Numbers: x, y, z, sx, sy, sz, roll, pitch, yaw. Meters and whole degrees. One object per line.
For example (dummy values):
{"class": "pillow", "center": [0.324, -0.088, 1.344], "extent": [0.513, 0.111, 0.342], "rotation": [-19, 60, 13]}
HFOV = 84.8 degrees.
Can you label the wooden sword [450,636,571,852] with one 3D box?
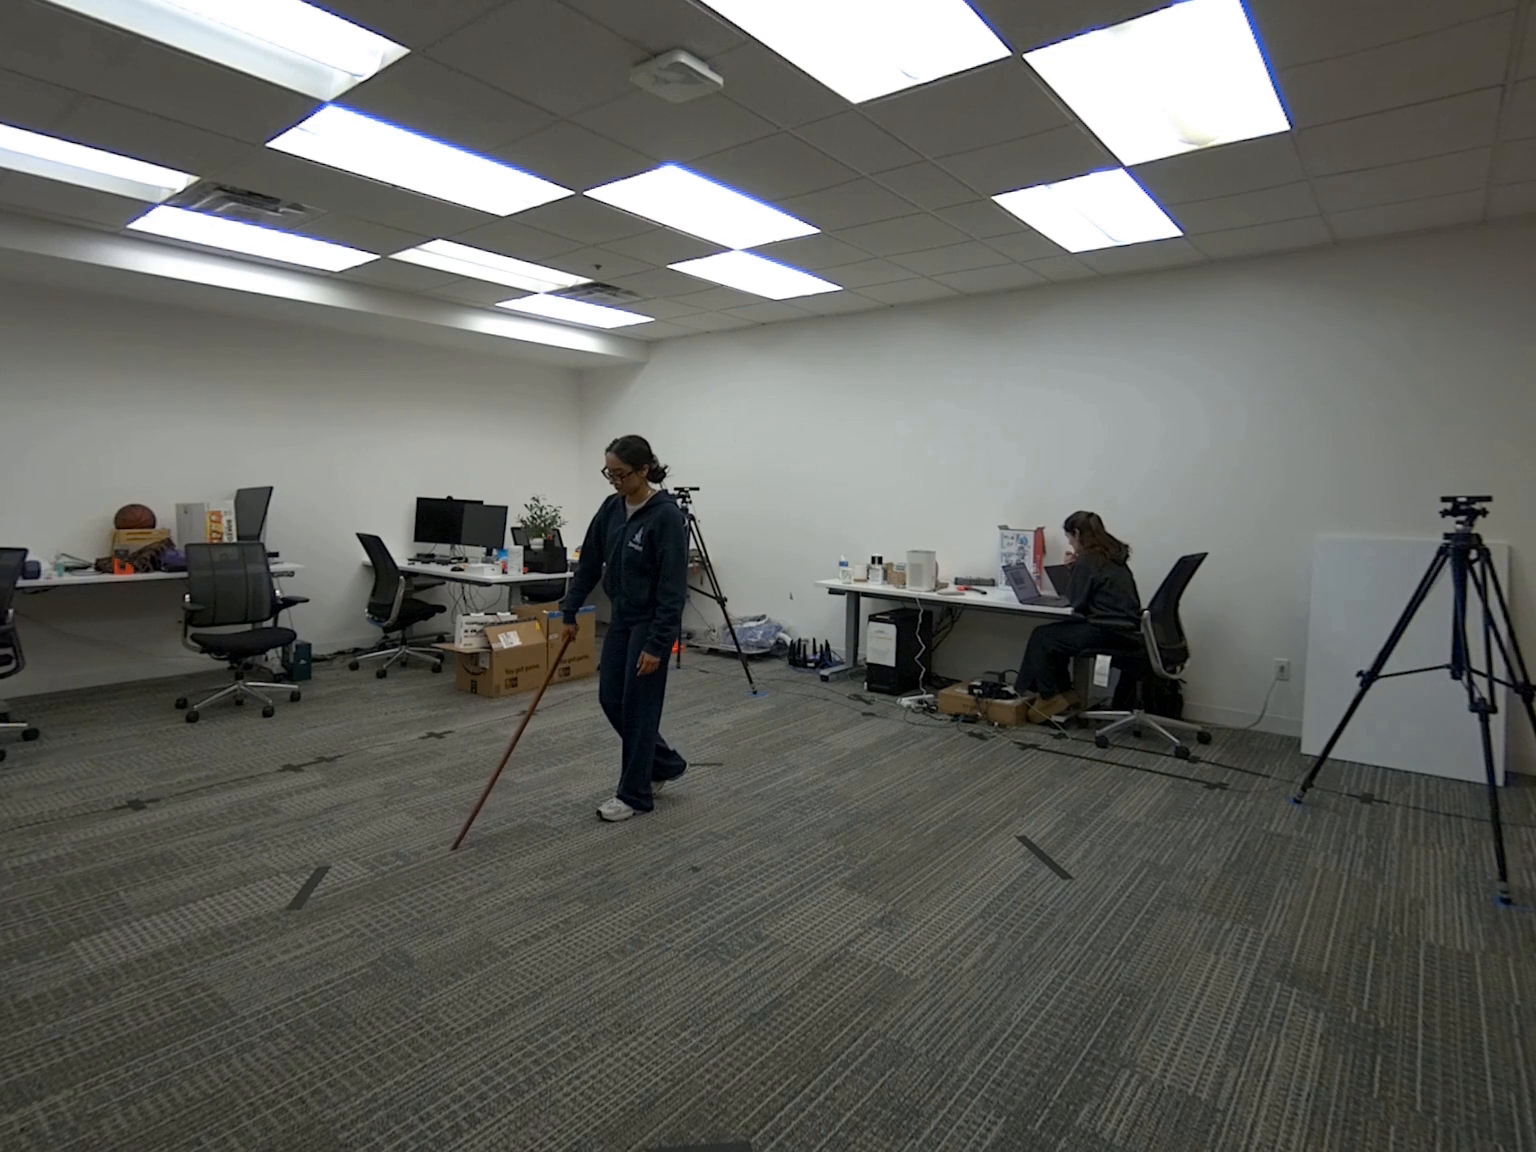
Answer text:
{"class": "wooden sword", "center": [-1.035, 0.640, 3.501], "extent": [0.053, 1.036, 0.023], "rotation": [-8, -43, 43]}
